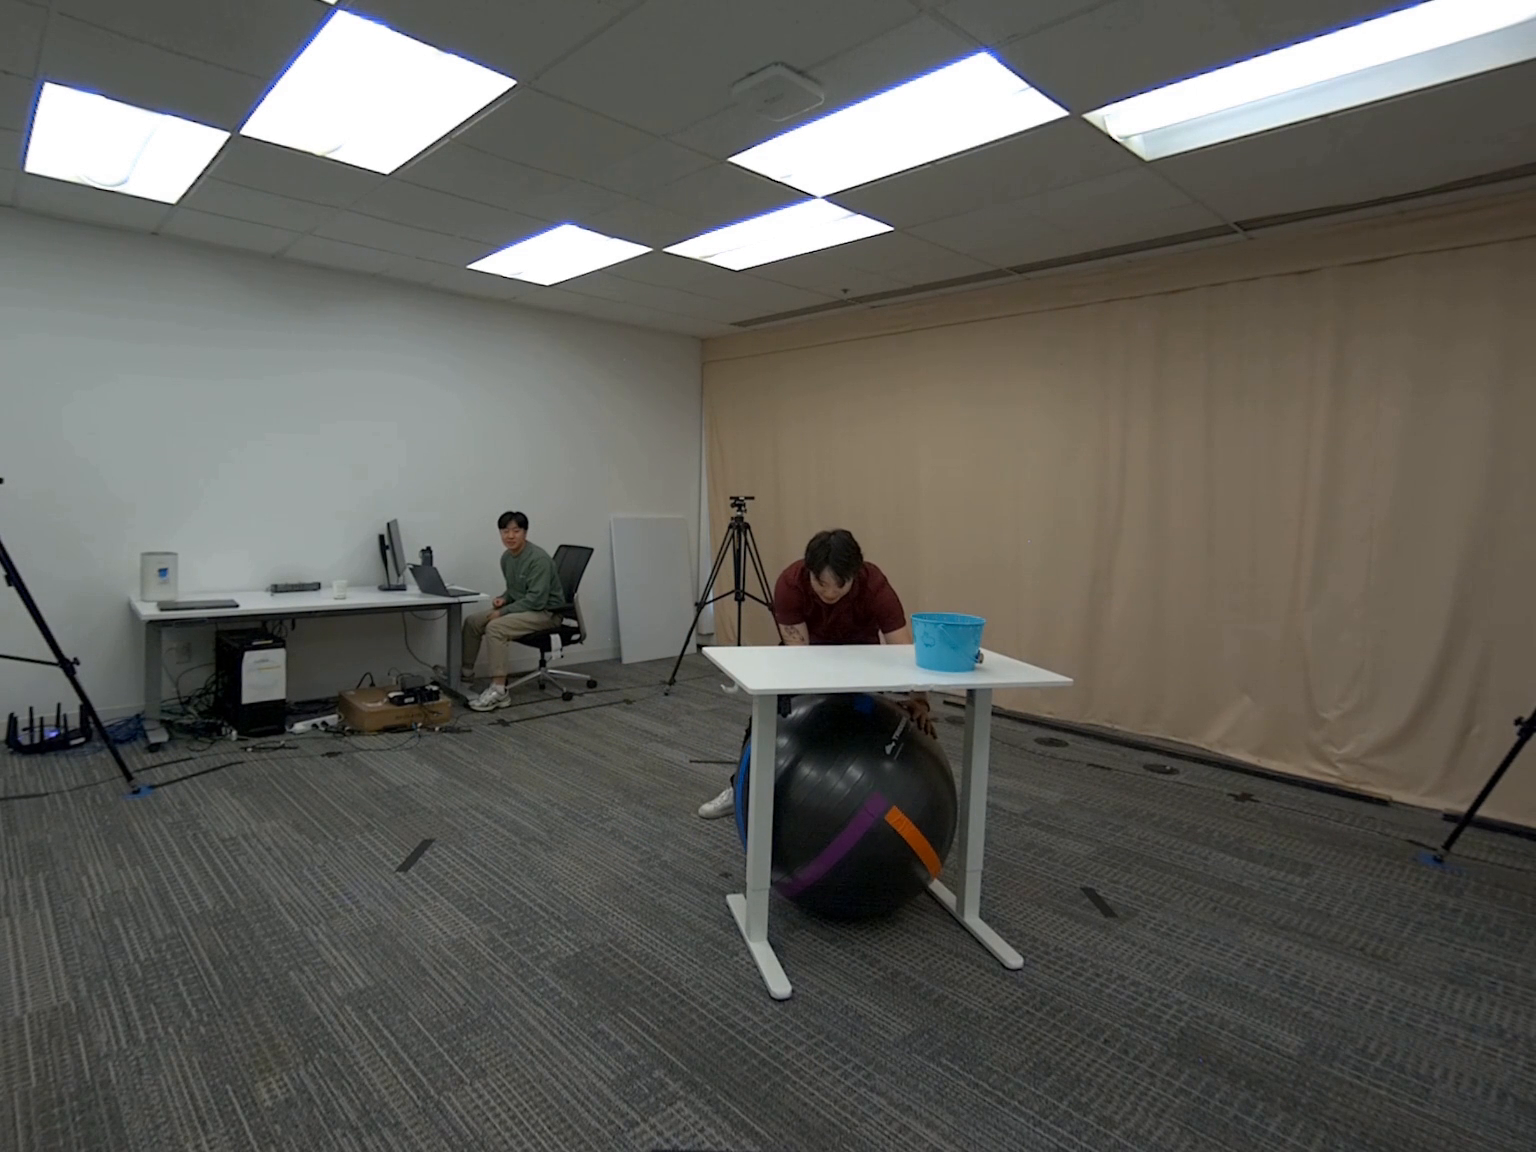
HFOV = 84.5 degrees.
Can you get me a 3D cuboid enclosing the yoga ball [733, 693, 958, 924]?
[{"bbox_3d":[0.251,0.773,2.871,0.757,0.756,0.760,1,4,-1],"label":"yoga ball"}]
